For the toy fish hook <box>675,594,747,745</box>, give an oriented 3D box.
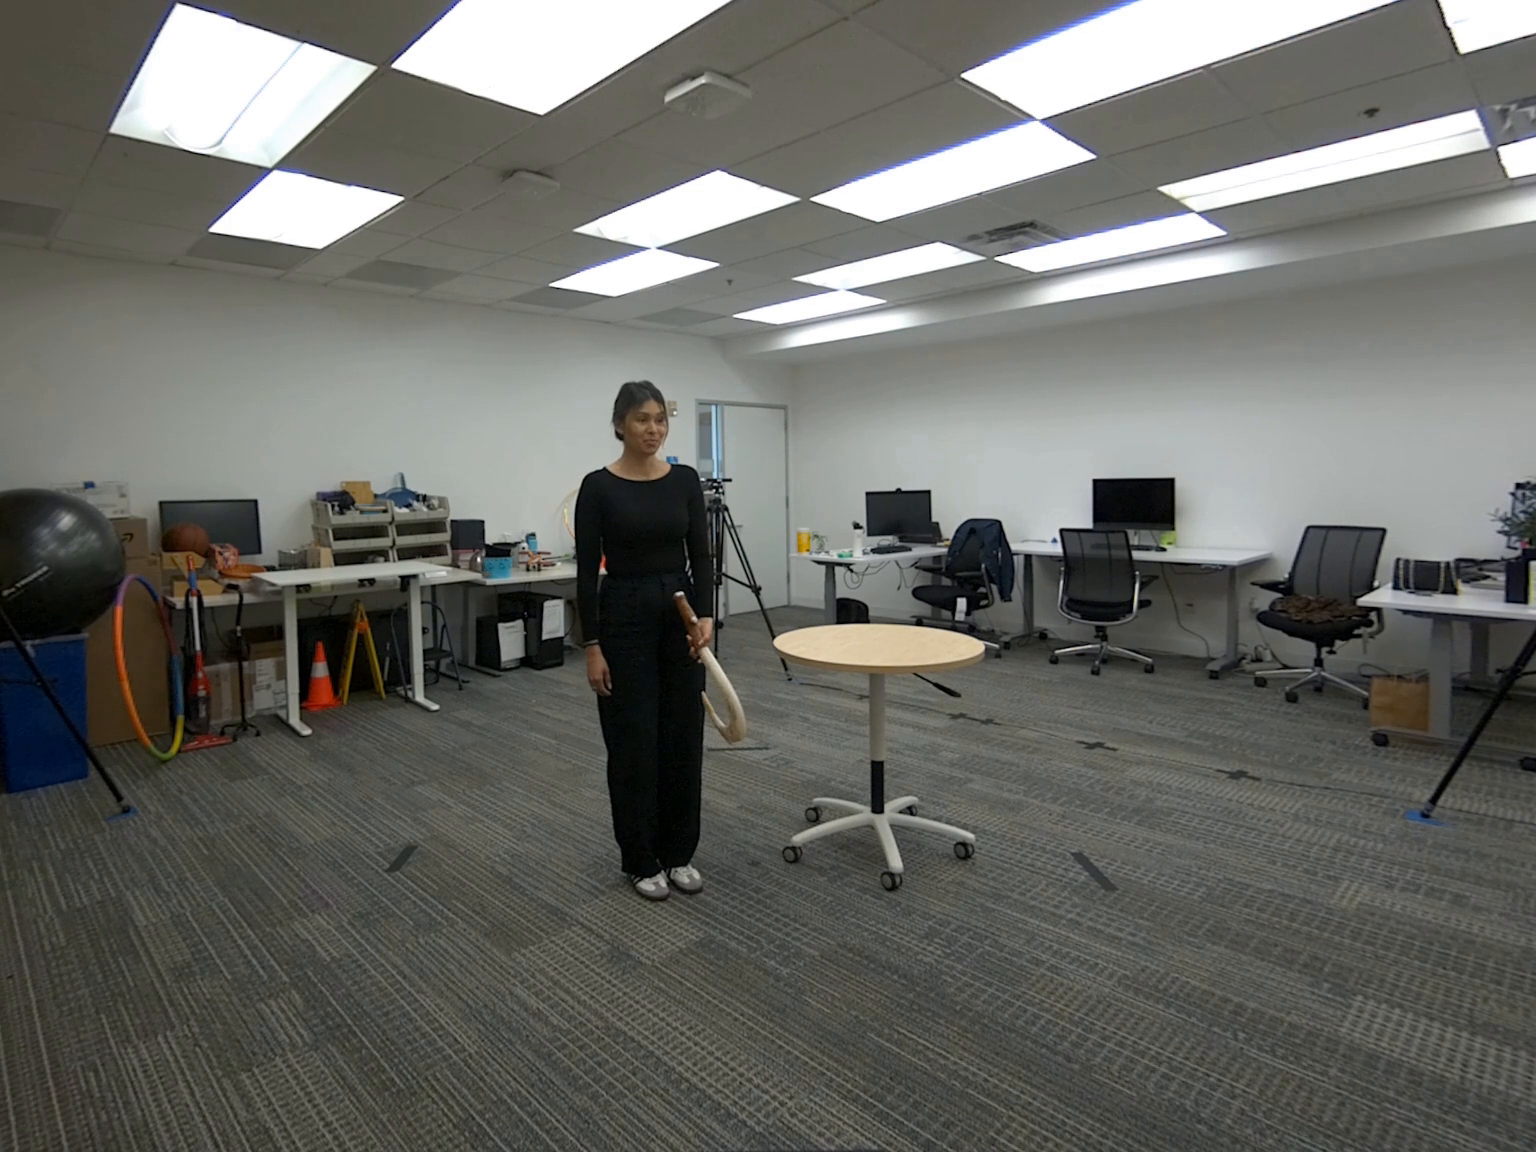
[{"bbox_3d":[-0.200,0.286,2.718,0.047,0.515,0.225,-13,-16,-35],"label":"toy fish hook"}]
